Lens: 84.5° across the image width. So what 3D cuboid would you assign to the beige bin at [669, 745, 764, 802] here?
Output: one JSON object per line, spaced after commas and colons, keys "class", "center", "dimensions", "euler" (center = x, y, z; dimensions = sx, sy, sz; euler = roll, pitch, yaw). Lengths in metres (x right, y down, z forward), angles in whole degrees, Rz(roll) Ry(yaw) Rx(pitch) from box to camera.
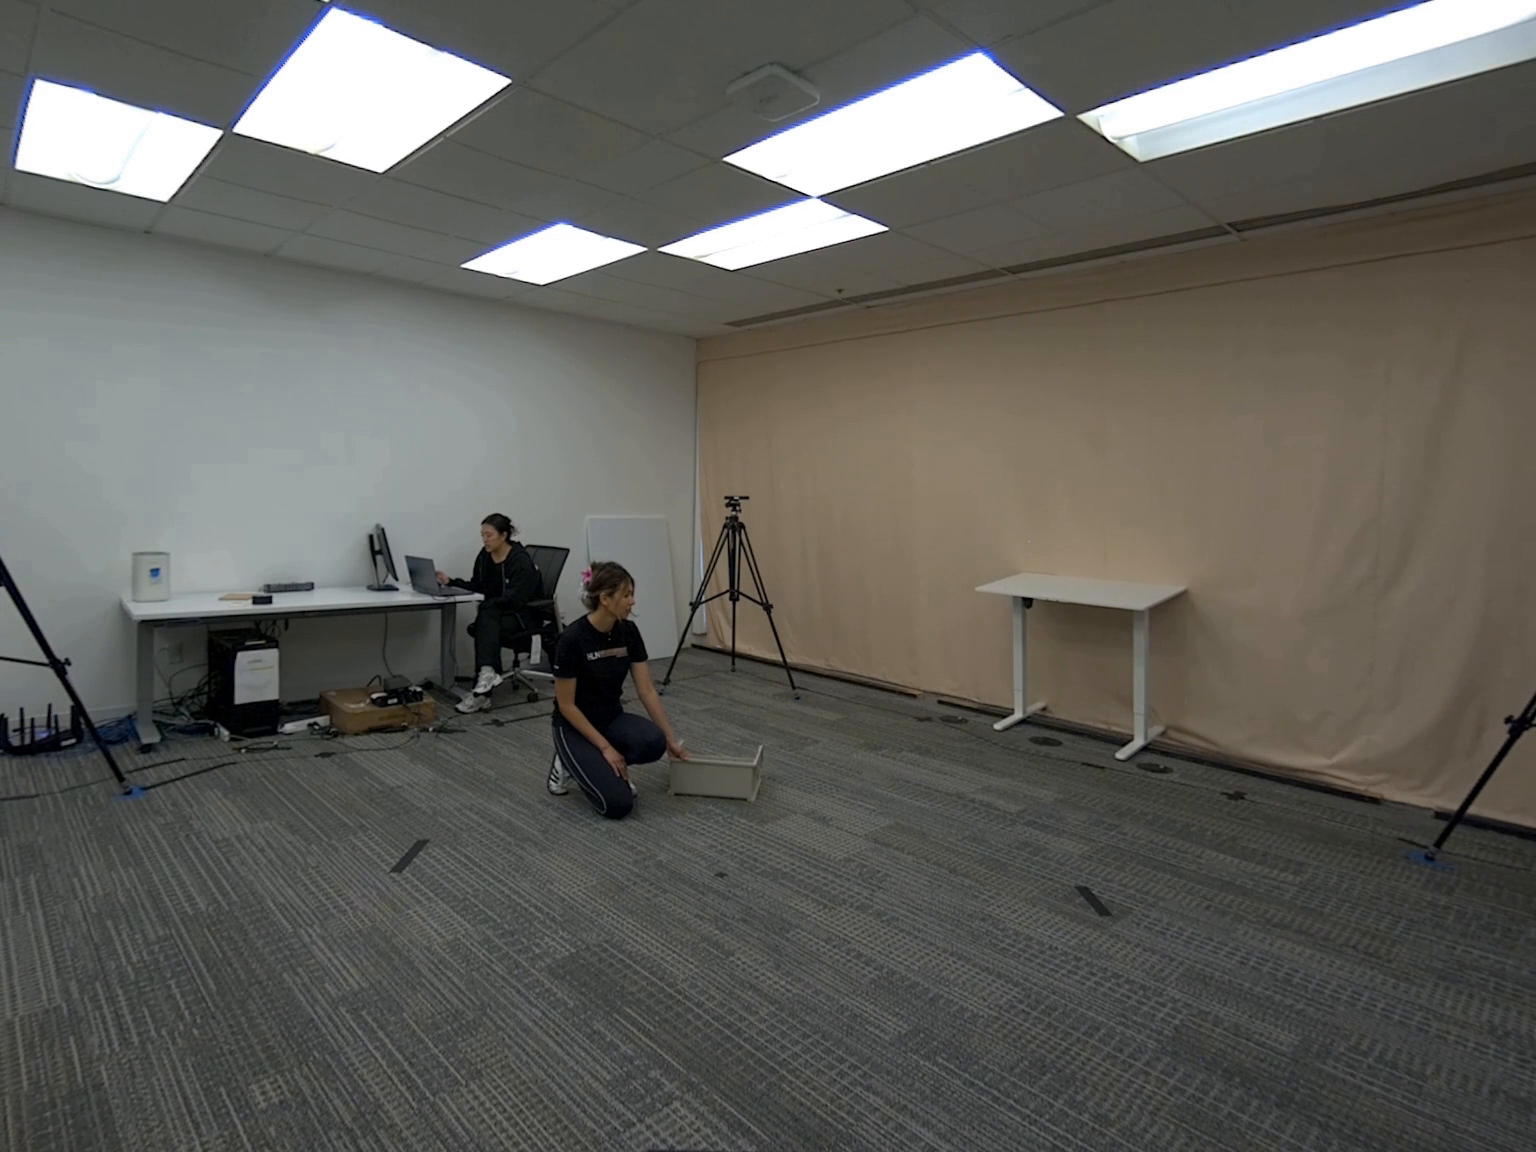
{"class": "beige bin", "center": [-0.259, 0.928, 4.086], "dimensions": [0.425, 0.188, 0.376], "euler": [2, 6, 6]}
